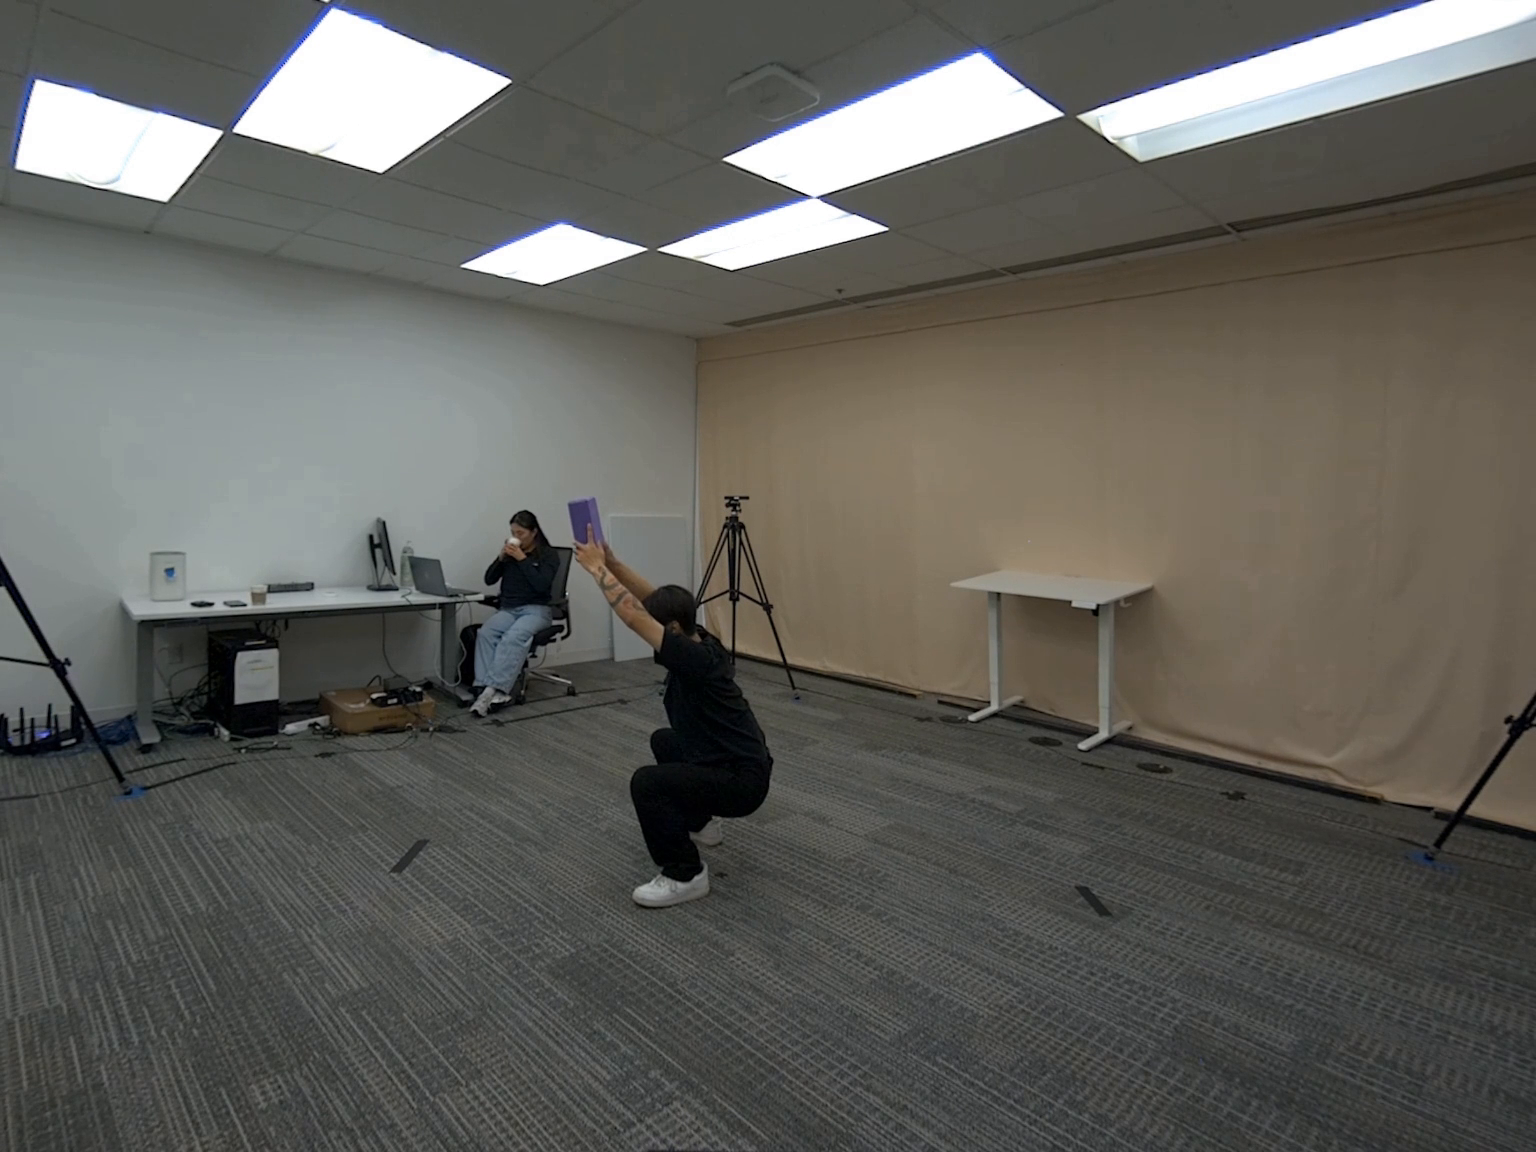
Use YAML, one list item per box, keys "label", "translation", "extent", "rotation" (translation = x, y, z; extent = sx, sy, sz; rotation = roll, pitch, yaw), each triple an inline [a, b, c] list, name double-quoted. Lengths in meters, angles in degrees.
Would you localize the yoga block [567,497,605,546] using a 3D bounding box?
- label: "yoga block"
  translation: [-0.684, -0.178, 3.131]
  extent: [0.077, 0.228, 0.149]
  rotation: [-6, 9, 8]
